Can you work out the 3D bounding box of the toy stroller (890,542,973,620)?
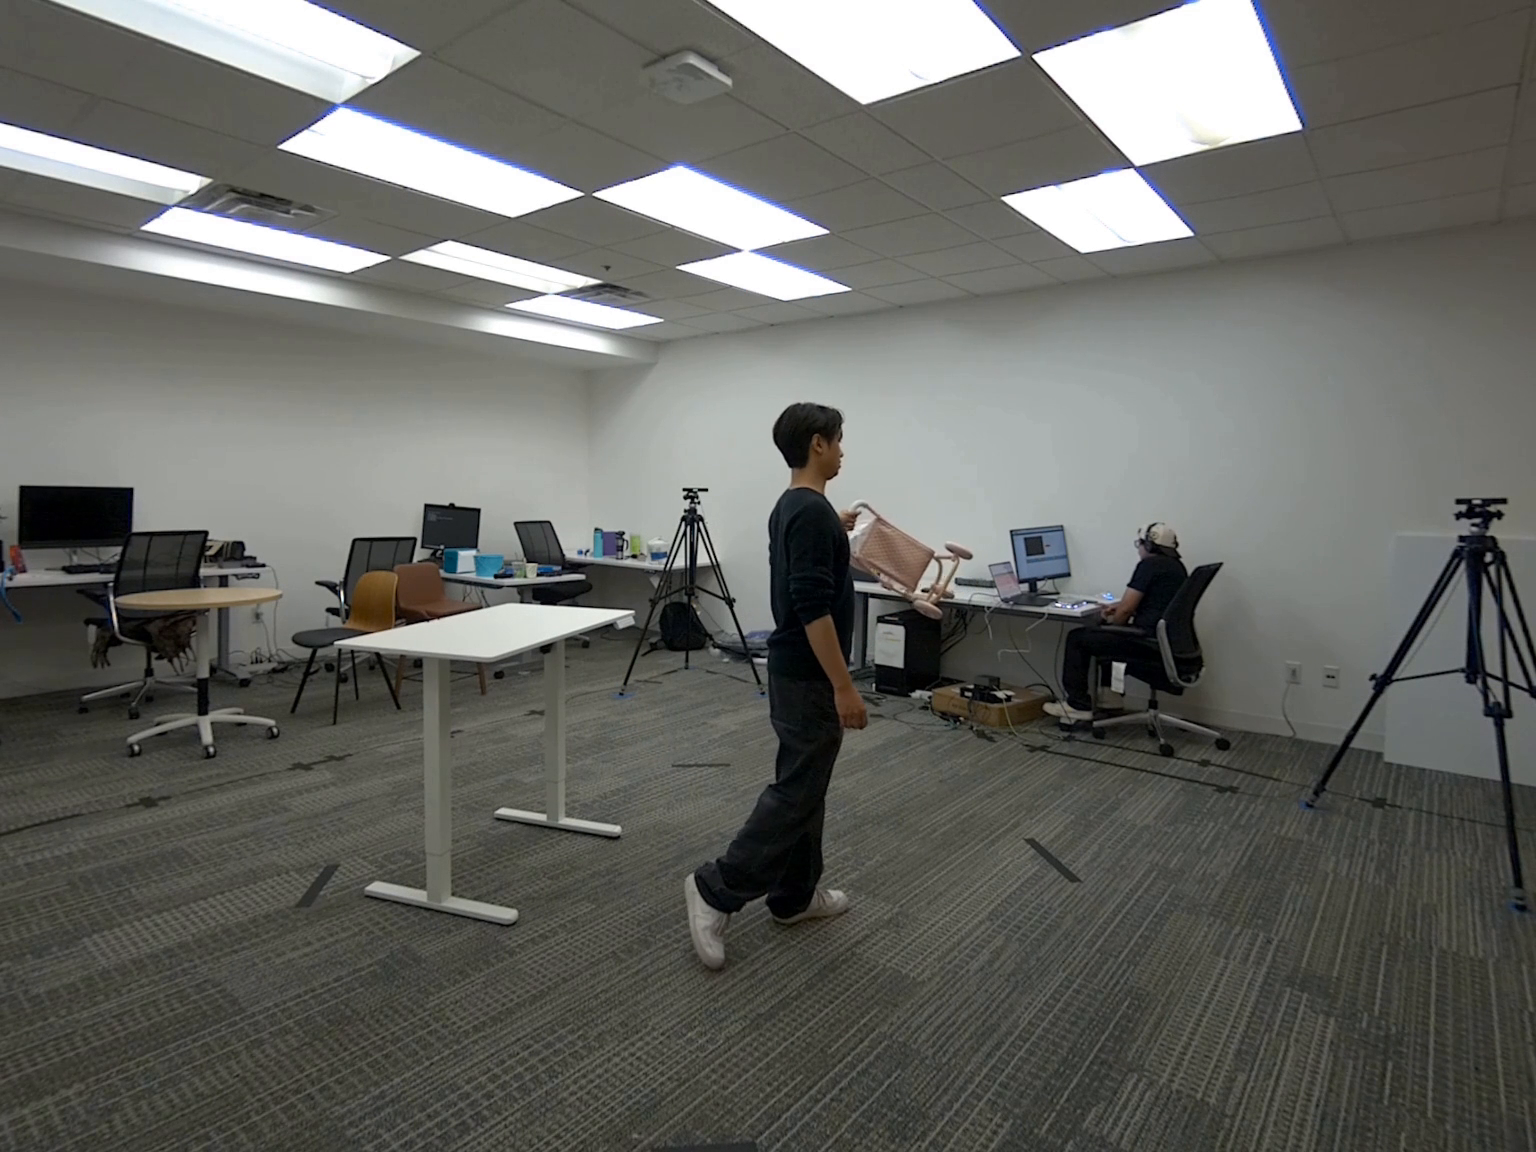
[{"bbox_3d":[0.488,-0.061,3.238,0.540,0.282,0.338,29,-3,5],"label":"toy stroller"}]
